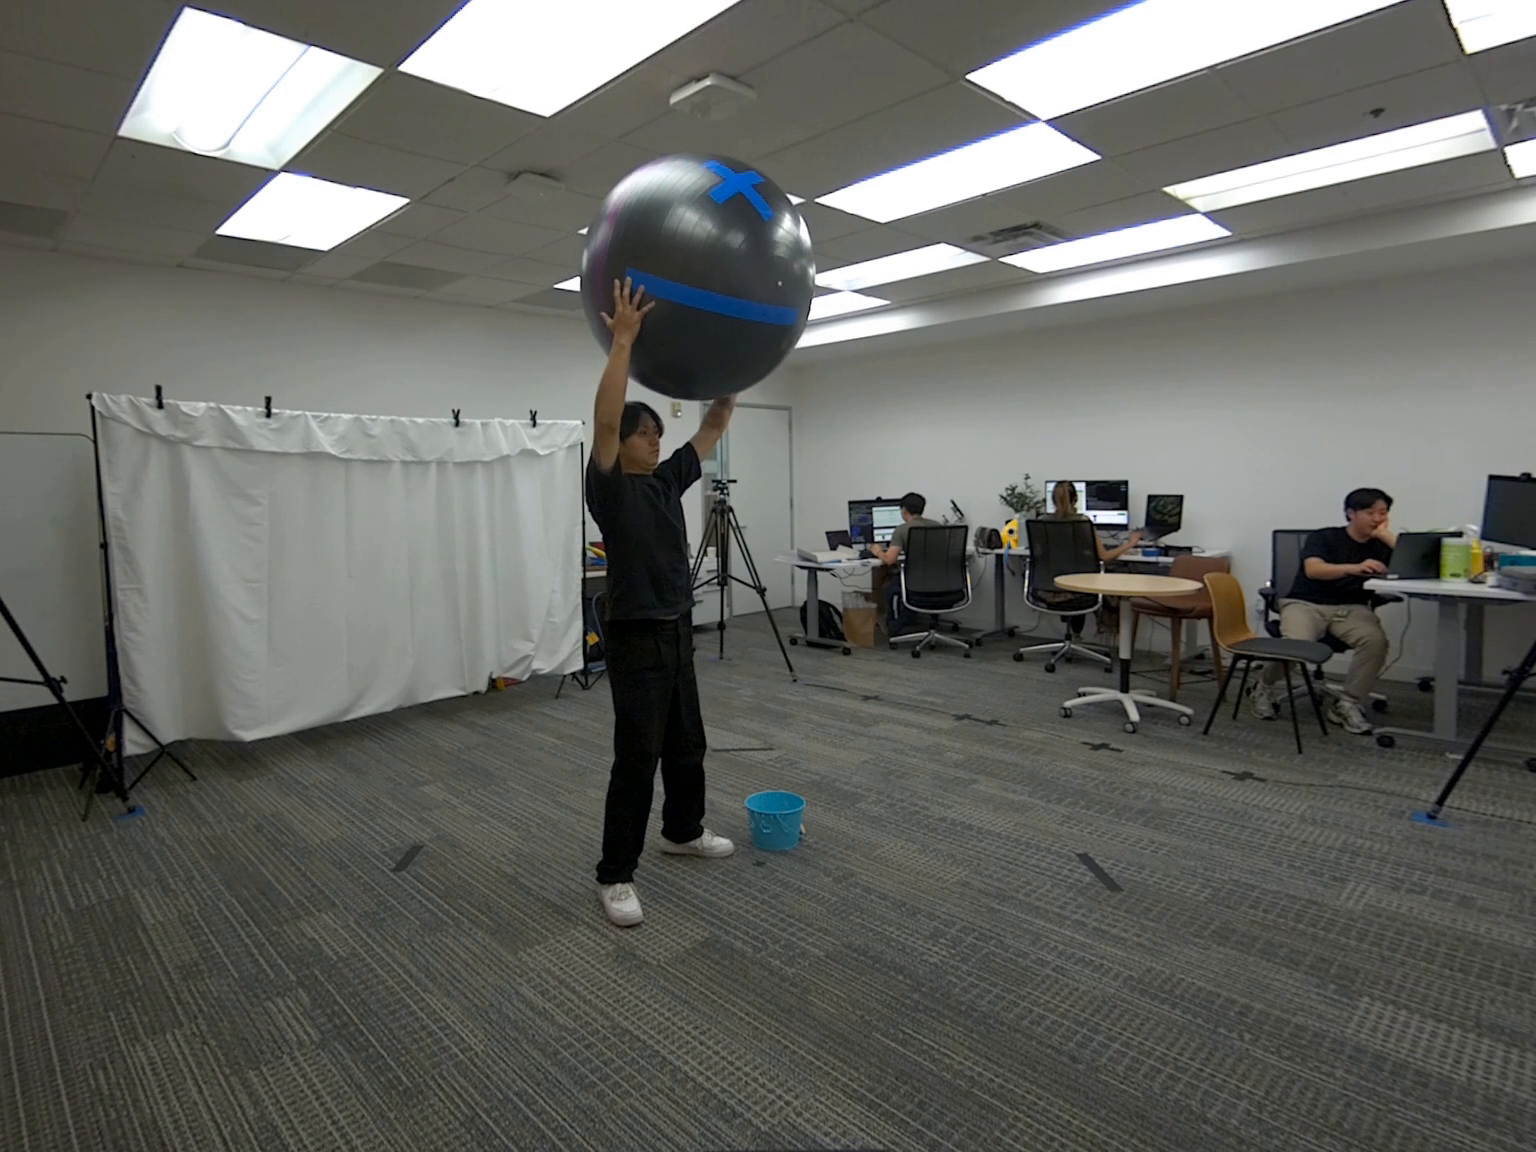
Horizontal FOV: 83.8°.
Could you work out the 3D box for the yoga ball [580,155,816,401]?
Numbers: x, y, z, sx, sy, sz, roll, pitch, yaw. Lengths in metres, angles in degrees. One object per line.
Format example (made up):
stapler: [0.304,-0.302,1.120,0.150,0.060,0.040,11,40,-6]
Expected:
yoga ball: [-0.223,-0.943,2.762,0.757,0.755,0.762,-1,5,-2]
